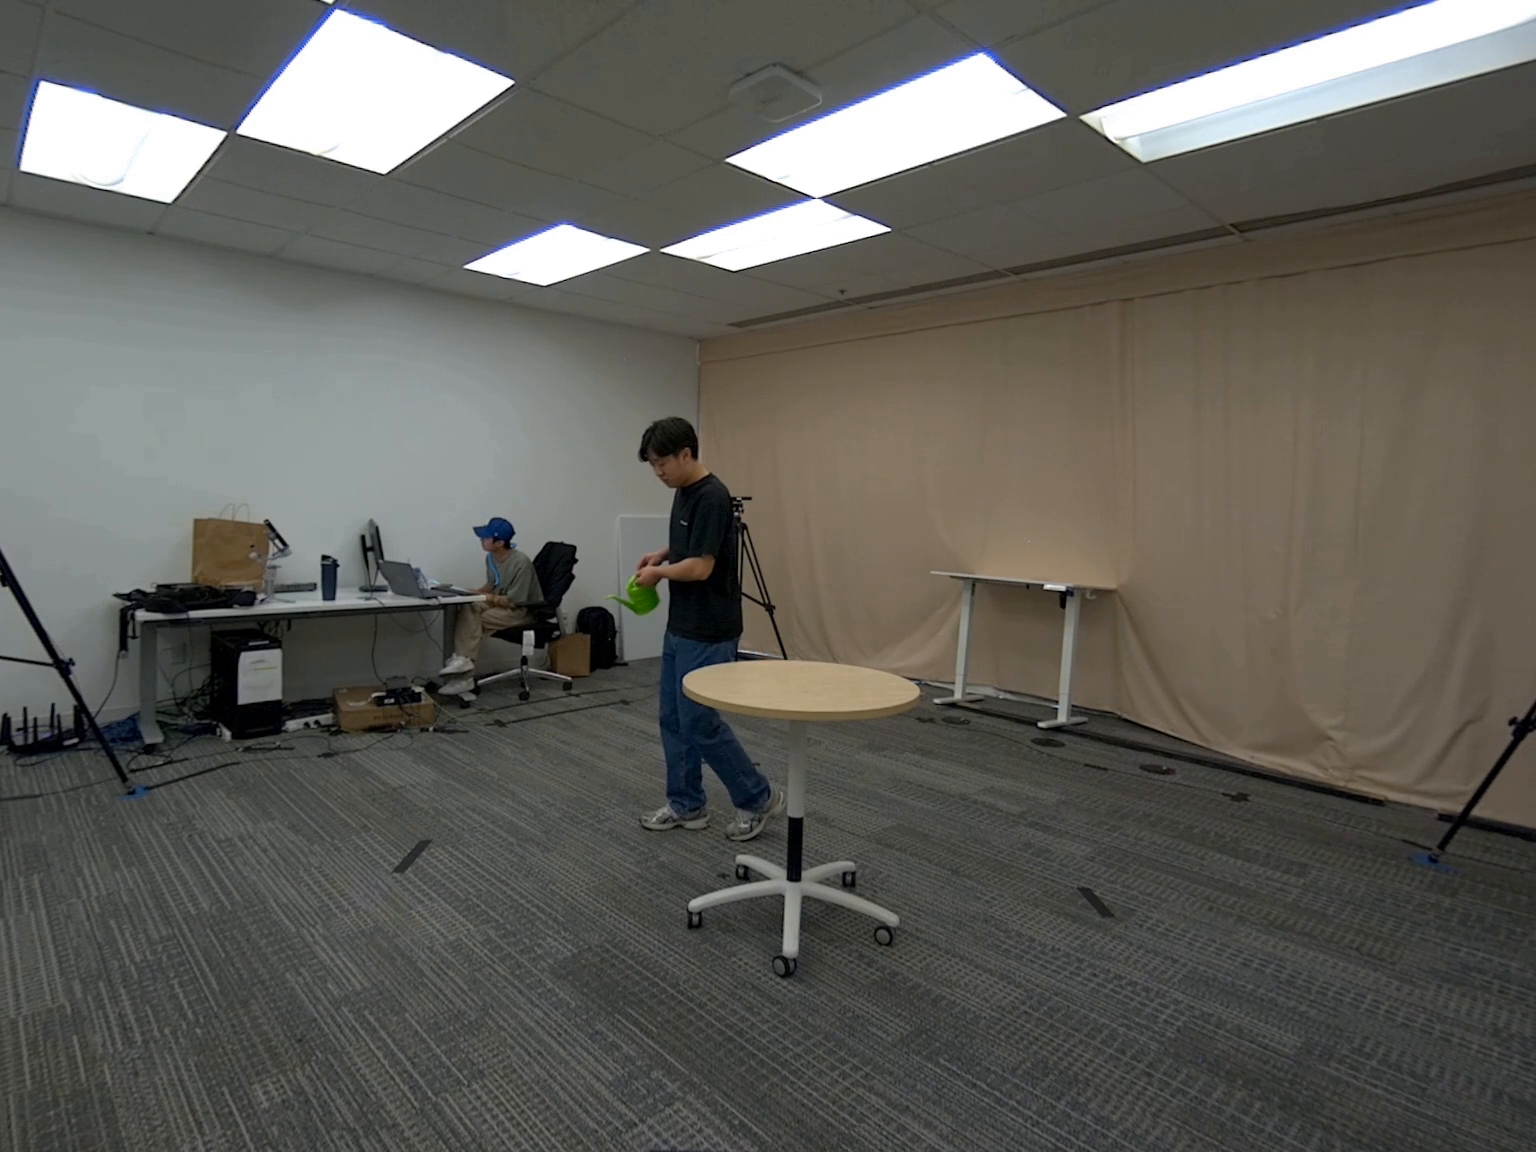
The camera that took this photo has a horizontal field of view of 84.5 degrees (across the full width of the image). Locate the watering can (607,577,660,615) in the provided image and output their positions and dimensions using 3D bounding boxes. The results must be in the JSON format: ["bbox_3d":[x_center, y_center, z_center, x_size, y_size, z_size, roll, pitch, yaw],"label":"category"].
[{"bbox_3d":[-0.563,0.087,3.537,0.276,0.172,0.101,-32,35,-26],"label":"watering can"}]
